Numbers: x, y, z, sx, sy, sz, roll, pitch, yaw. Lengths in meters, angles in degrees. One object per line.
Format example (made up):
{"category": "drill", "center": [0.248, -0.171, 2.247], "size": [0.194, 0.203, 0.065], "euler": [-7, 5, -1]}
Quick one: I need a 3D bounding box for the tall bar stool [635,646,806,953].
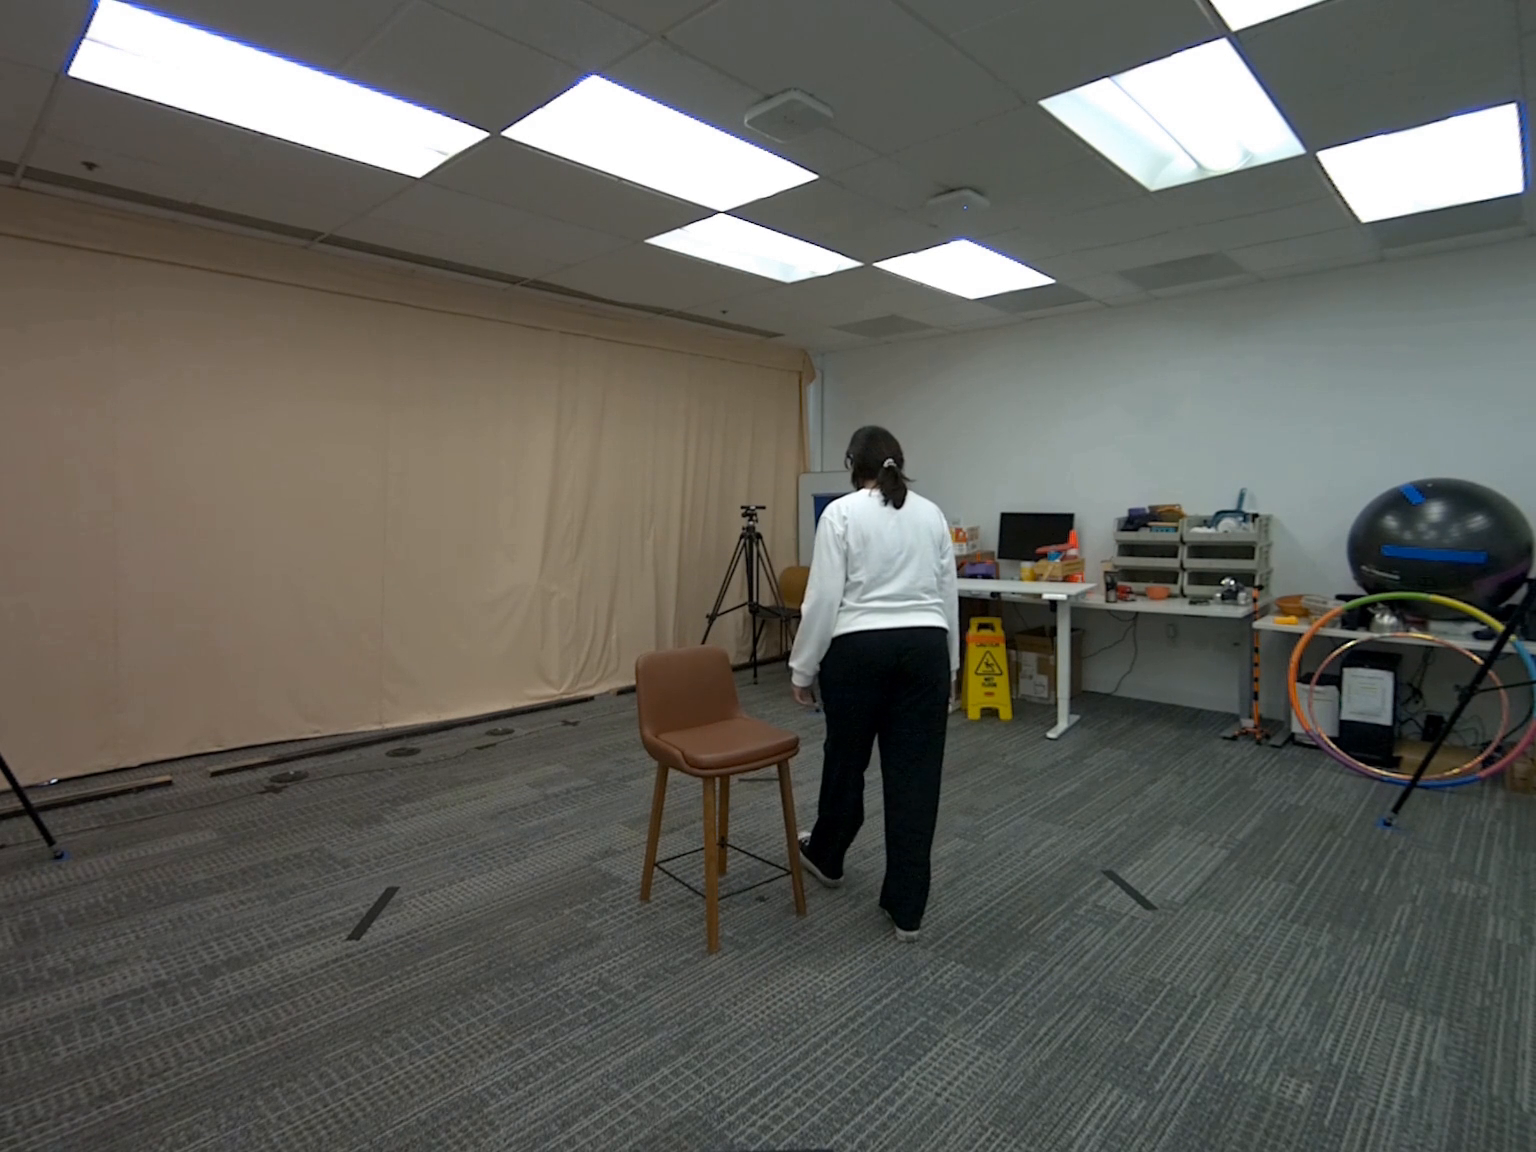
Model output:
{"category": "tall bar stool", "center": [-0.169, 0.717, 2.896], "size": [0.443, 0.889, 0.482], "euler": [-2, 2, -39]}
